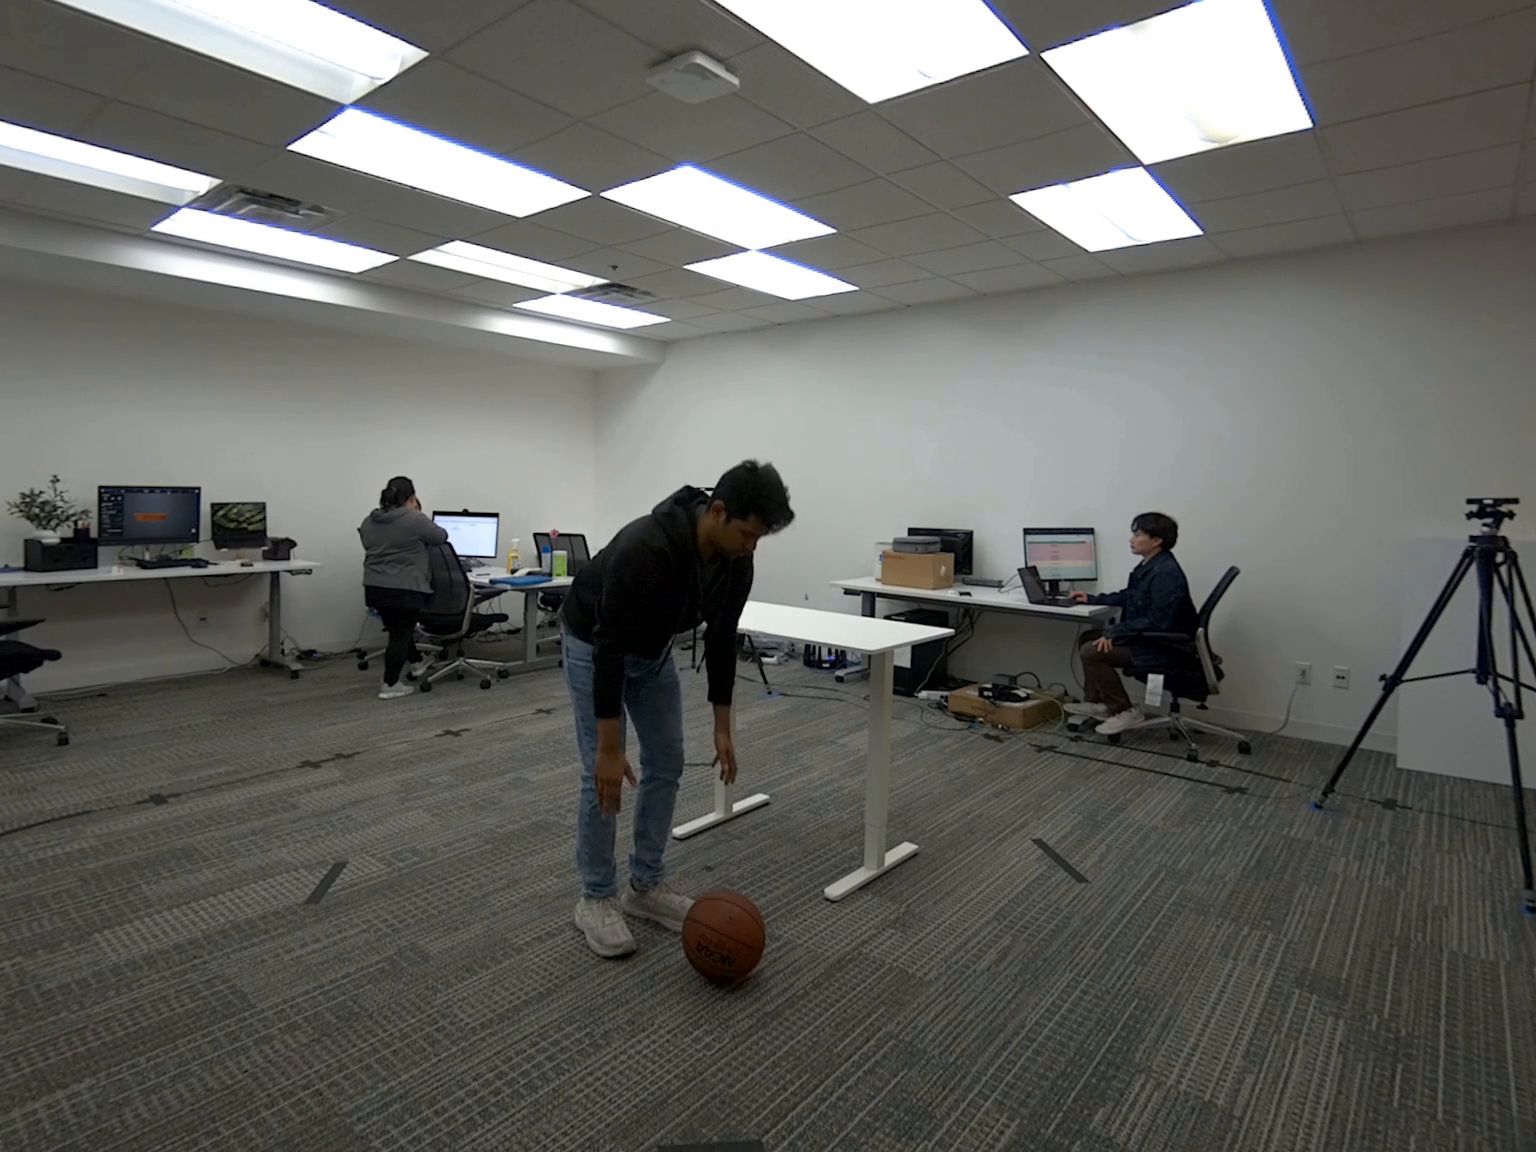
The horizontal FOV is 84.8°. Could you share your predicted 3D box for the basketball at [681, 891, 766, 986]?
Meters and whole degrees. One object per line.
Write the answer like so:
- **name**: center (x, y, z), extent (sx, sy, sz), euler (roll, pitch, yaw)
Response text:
- **basketball**: center (-0.135, 1.018, 2.404), extent (0.235, 0.235, 0.237), euler (1, 4, -2)
